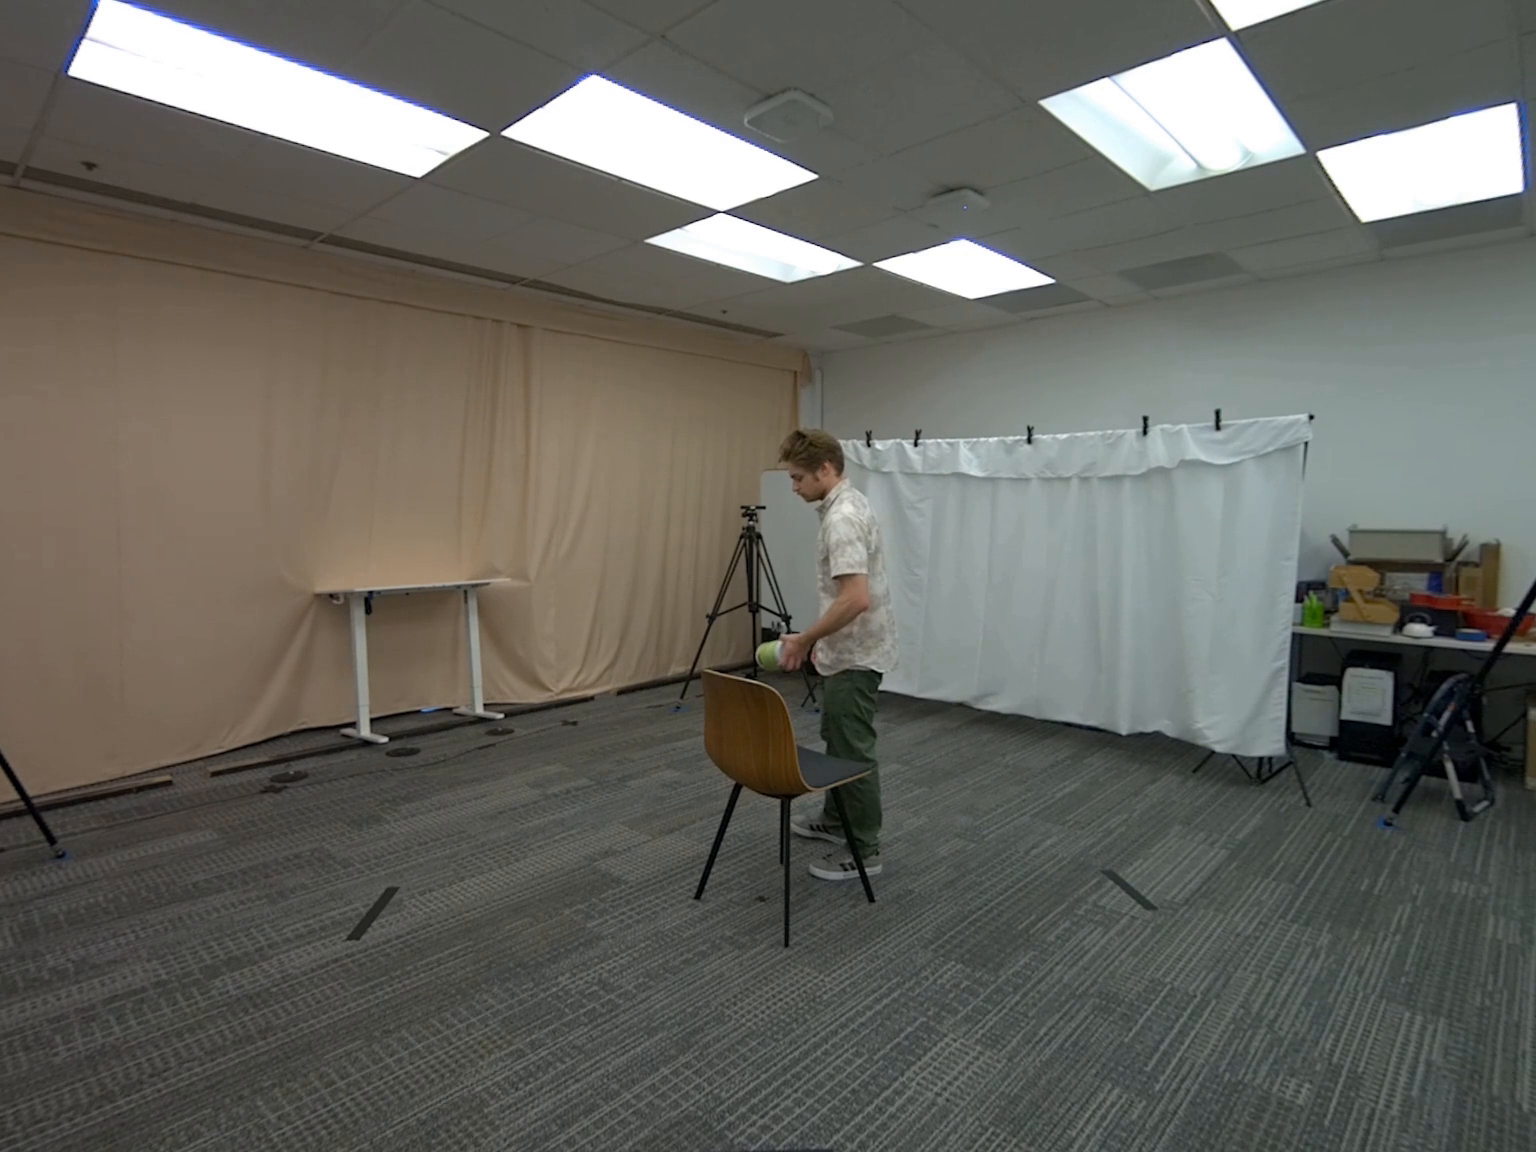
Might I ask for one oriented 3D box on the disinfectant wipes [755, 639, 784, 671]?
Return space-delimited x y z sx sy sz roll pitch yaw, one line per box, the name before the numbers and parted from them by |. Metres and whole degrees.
disinfectant wipes | 0.045 0.300 3.201 0.115 0.118 0.221 -1 -8 -22
